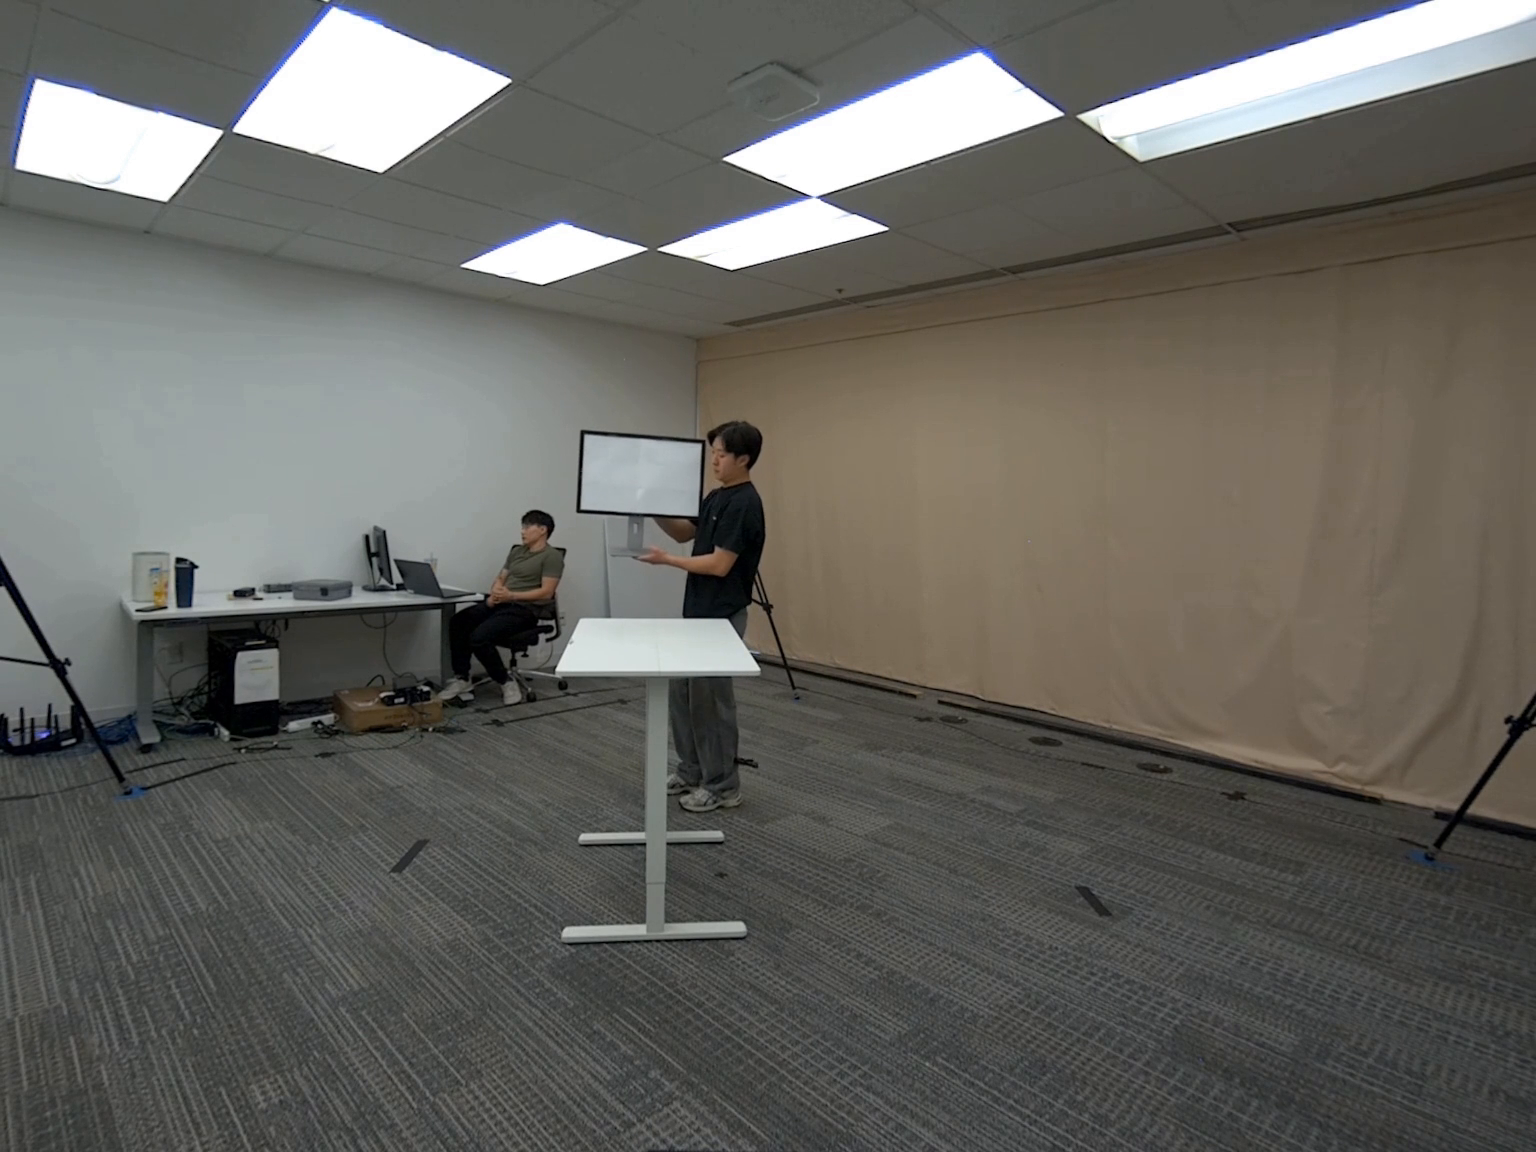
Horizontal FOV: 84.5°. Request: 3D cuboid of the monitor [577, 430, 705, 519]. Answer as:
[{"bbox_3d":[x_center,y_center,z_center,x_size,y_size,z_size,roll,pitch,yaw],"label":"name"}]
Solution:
[{"bbox_3d":[-0.587,-0.351,3.768,0.557,0.561,0.226,4,14,-10],"label":"monitor"}]
